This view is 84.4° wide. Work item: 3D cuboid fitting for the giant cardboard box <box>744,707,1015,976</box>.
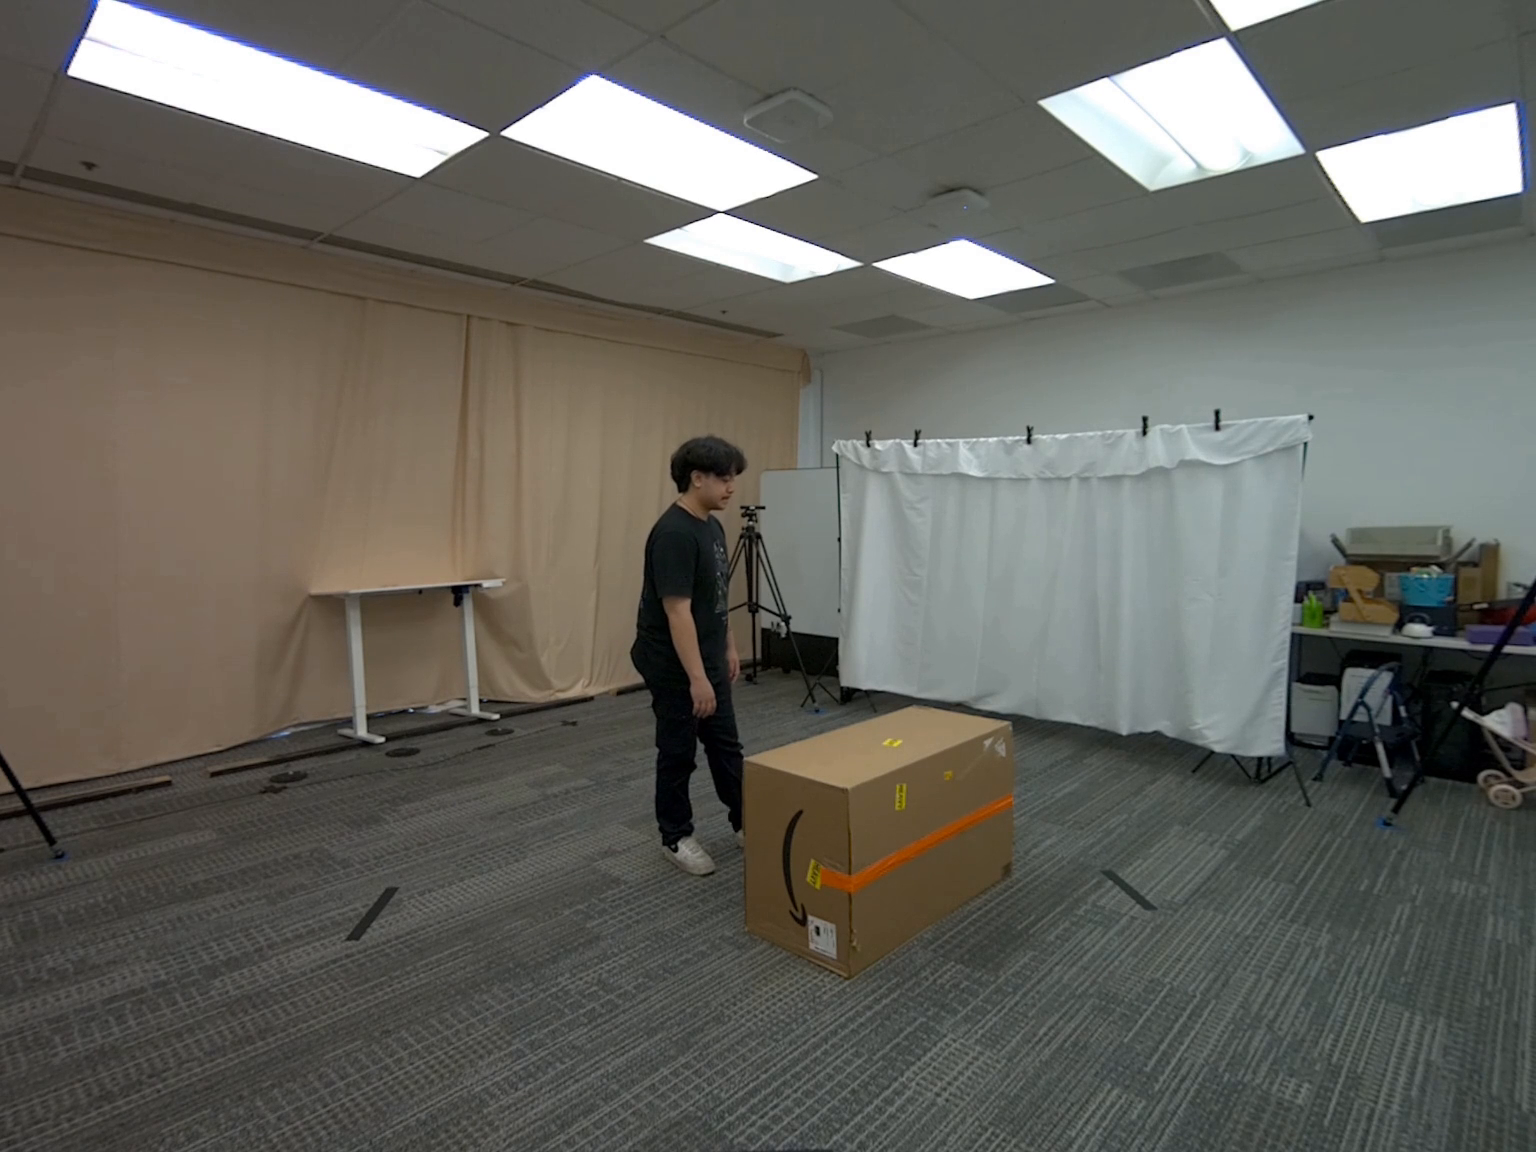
[{"bbox_3d":[0.427,0.860,2.952,0.462,0.582,0.996,4,7,44],"label":"giant cardboard box"}]
